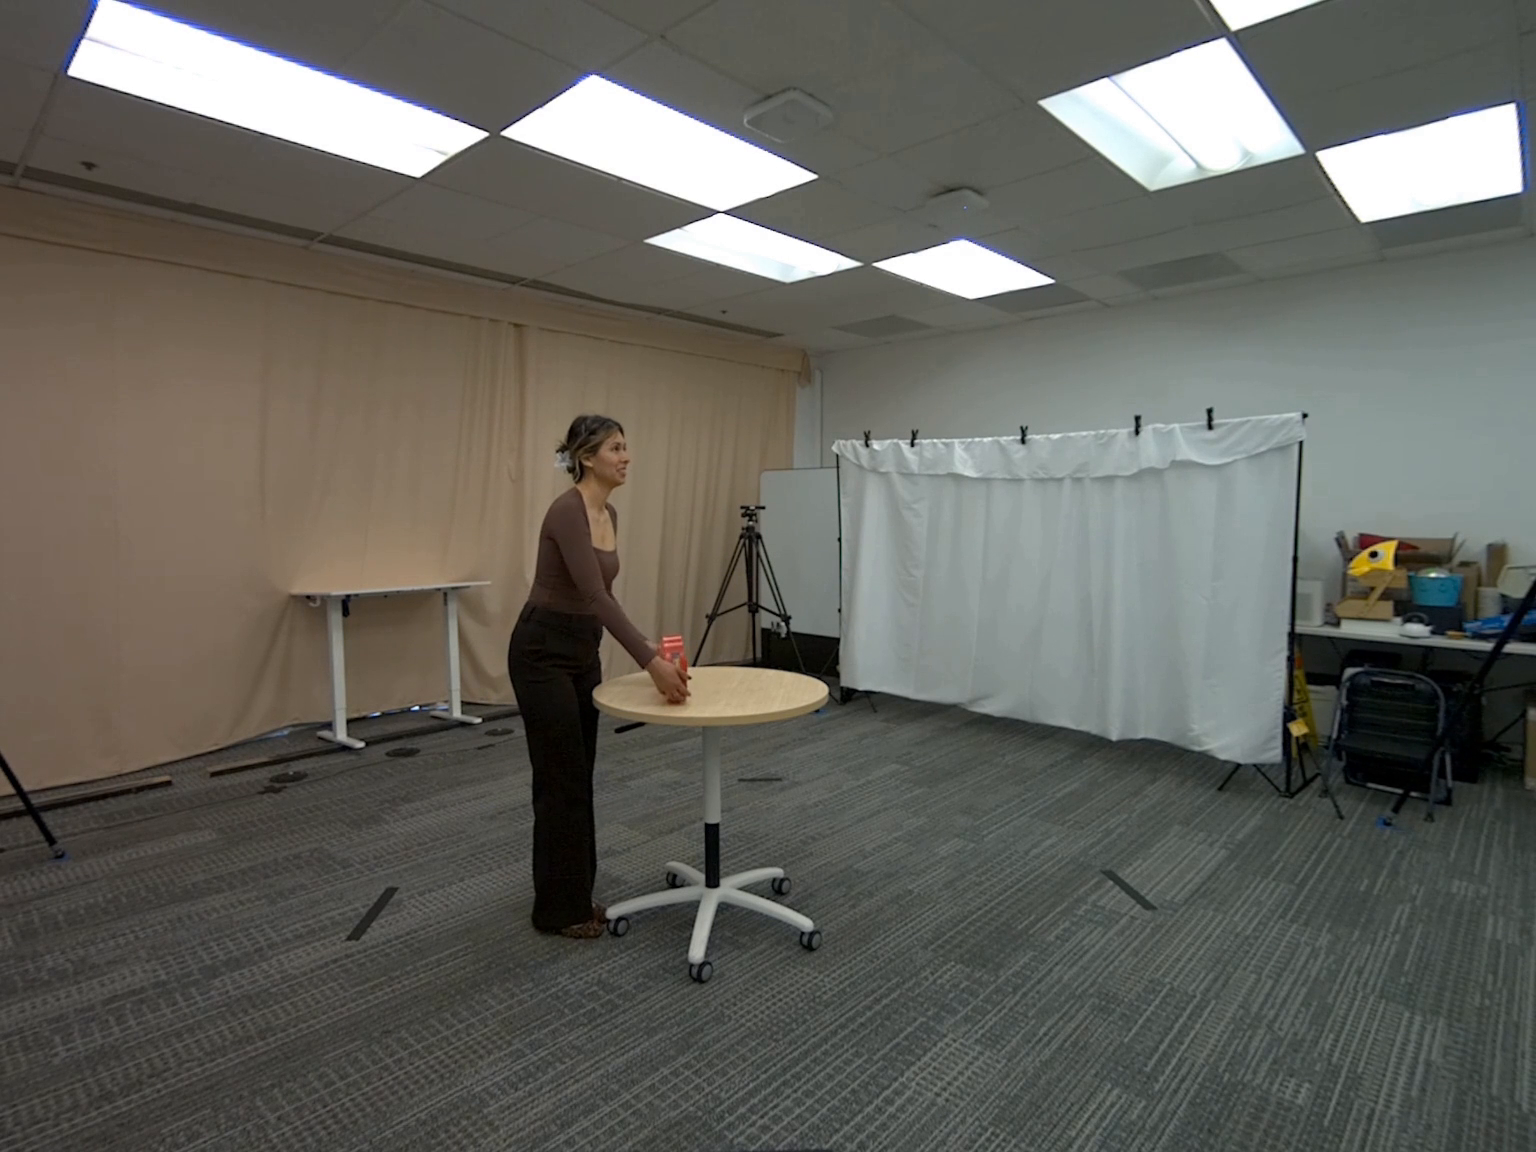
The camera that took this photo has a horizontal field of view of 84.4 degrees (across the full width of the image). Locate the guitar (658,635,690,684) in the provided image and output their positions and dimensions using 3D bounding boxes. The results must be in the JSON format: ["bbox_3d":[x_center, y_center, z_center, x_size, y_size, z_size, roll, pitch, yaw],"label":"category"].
[{"bbox_3d":[-0.312,0.308,2.737,0.070,0.194,0.498,-7,-9,-10],"label":"guitar"}]
